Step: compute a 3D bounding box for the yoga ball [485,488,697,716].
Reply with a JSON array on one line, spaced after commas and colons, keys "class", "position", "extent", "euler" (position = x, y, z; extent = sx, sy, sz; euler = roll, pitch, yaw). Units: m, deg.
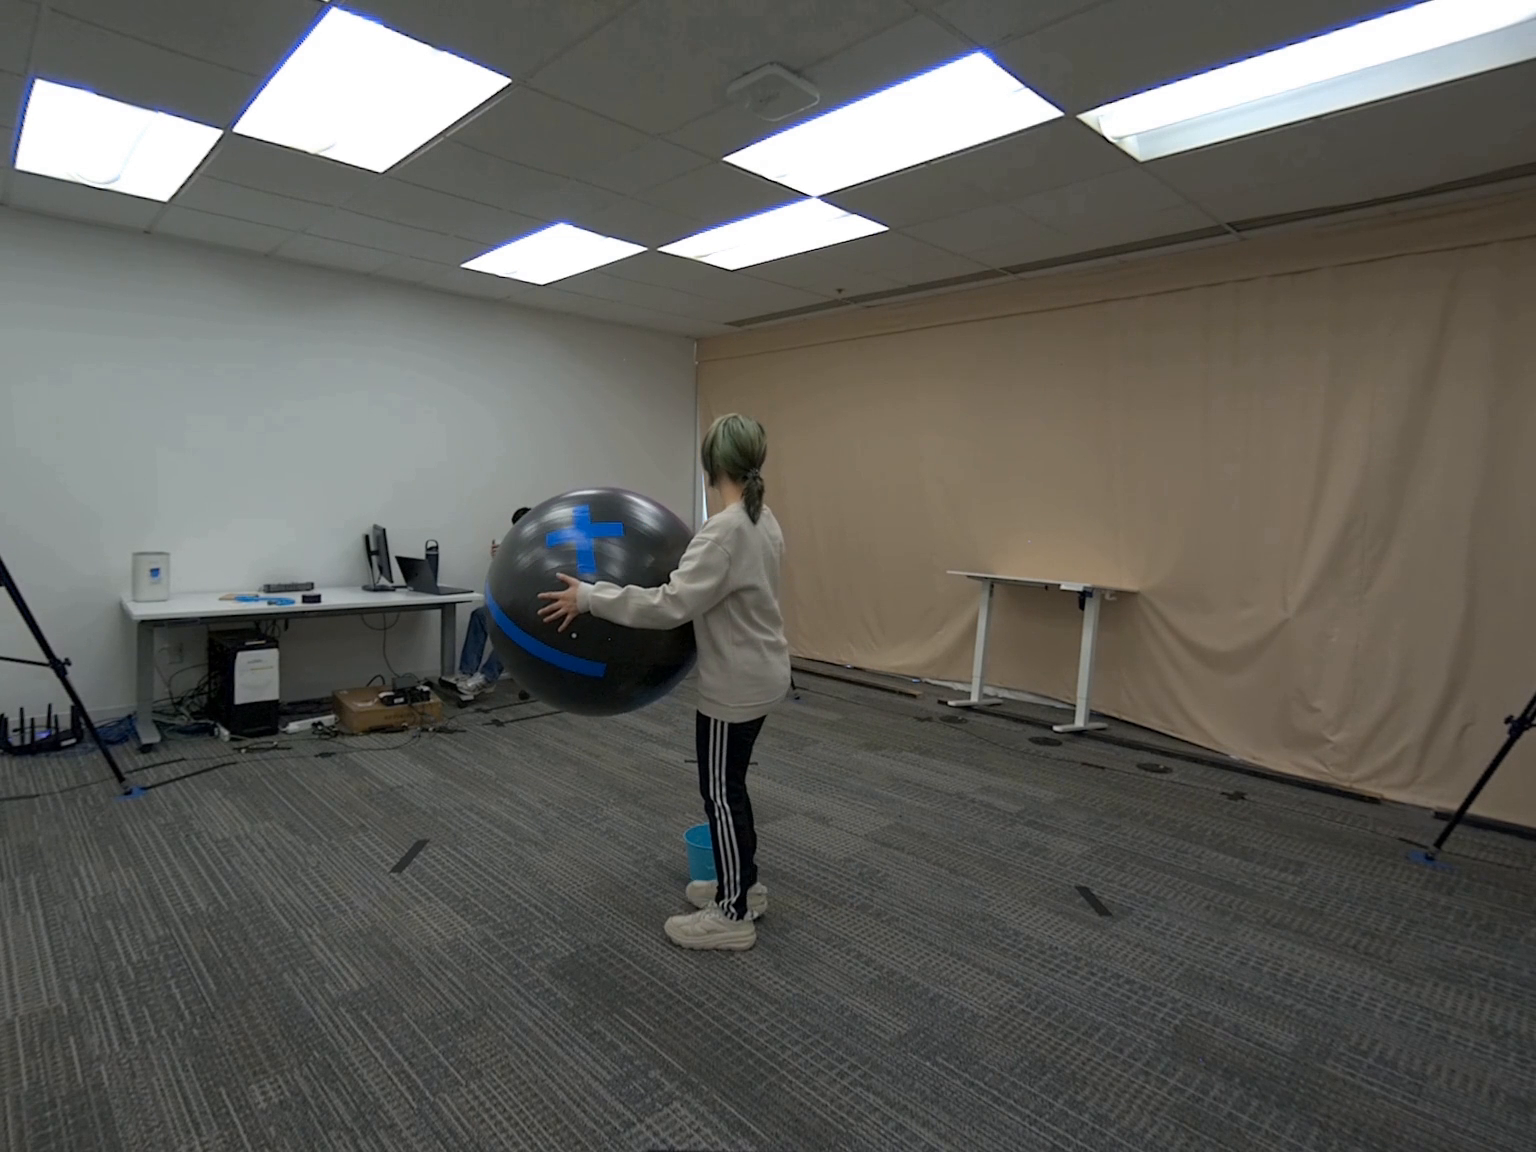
[{"class": "yoga ball", "position": [-0.565, 0.089, 2.824], "extent": [0.757, 0.756, 0.761], "euler": [1, 4, -1]}]
